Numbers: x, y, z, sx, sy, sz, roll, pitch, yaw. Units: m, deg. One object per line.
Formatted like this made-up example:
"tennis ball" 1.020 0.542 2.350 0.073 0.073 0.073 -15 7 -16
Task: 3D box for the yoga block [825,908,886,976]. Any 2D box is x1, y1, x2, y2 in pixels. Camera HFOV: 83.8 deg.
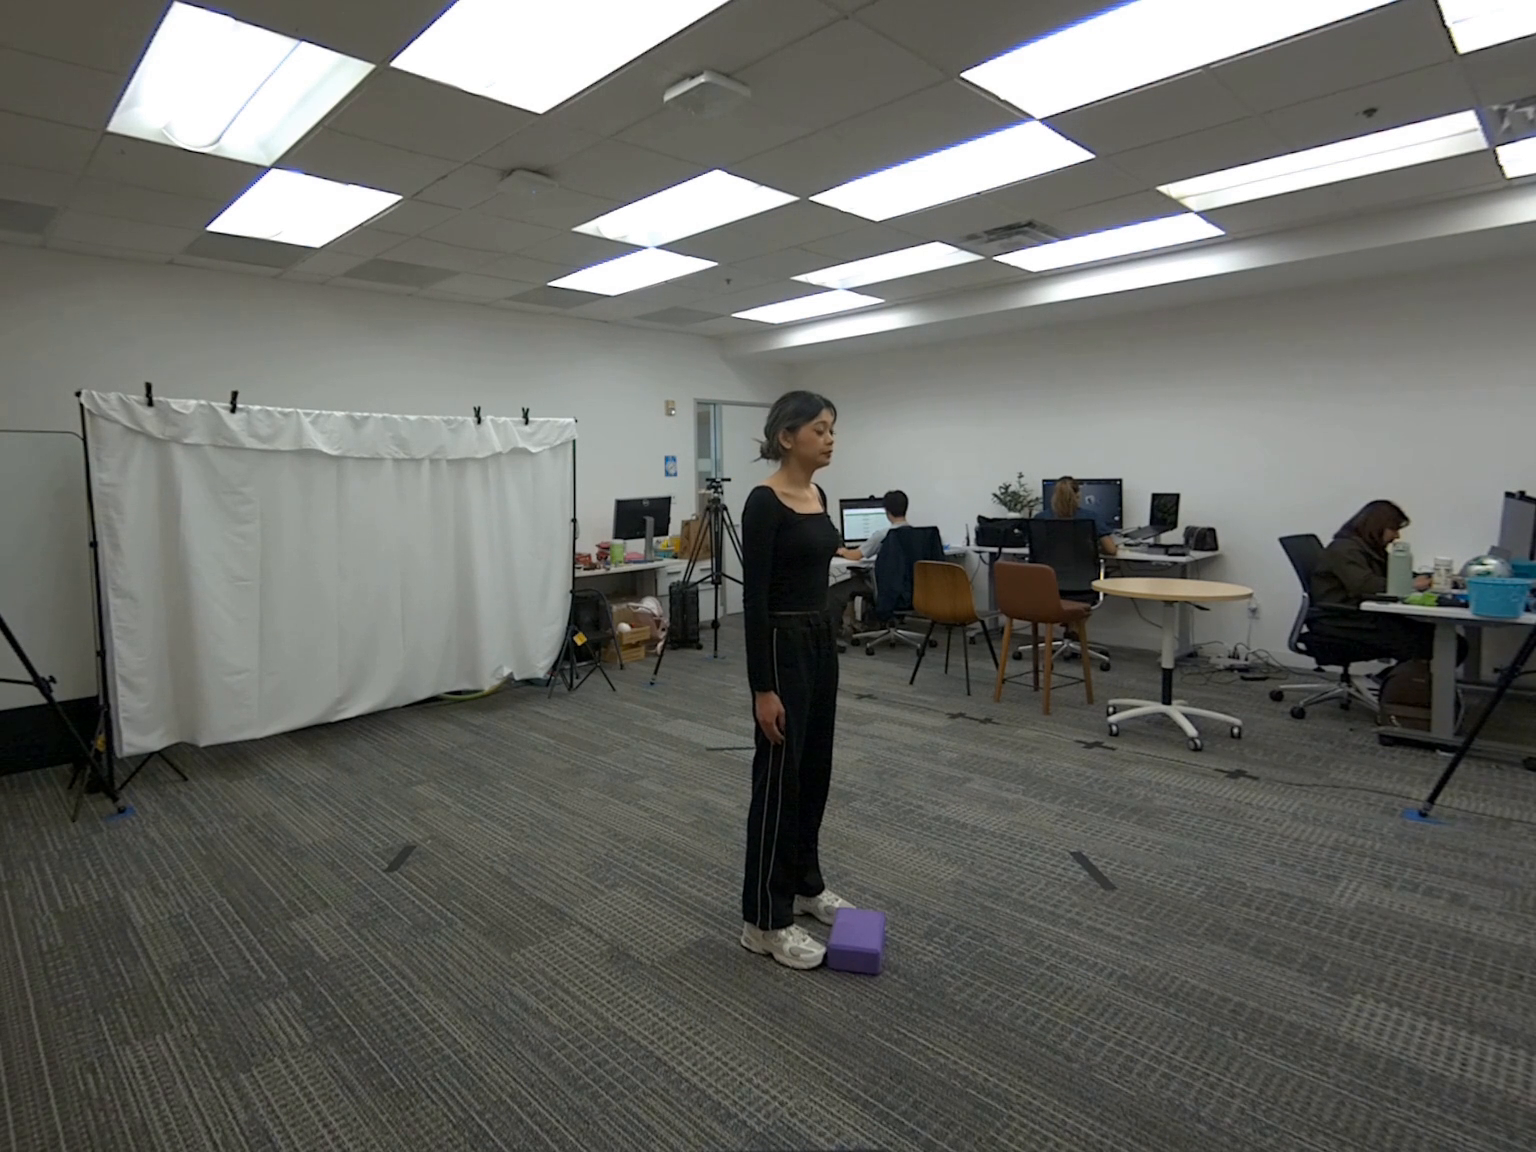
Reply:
"yoga block" 0.268 1.068 2.507 0.151 0.076 0.227 0 5 14
